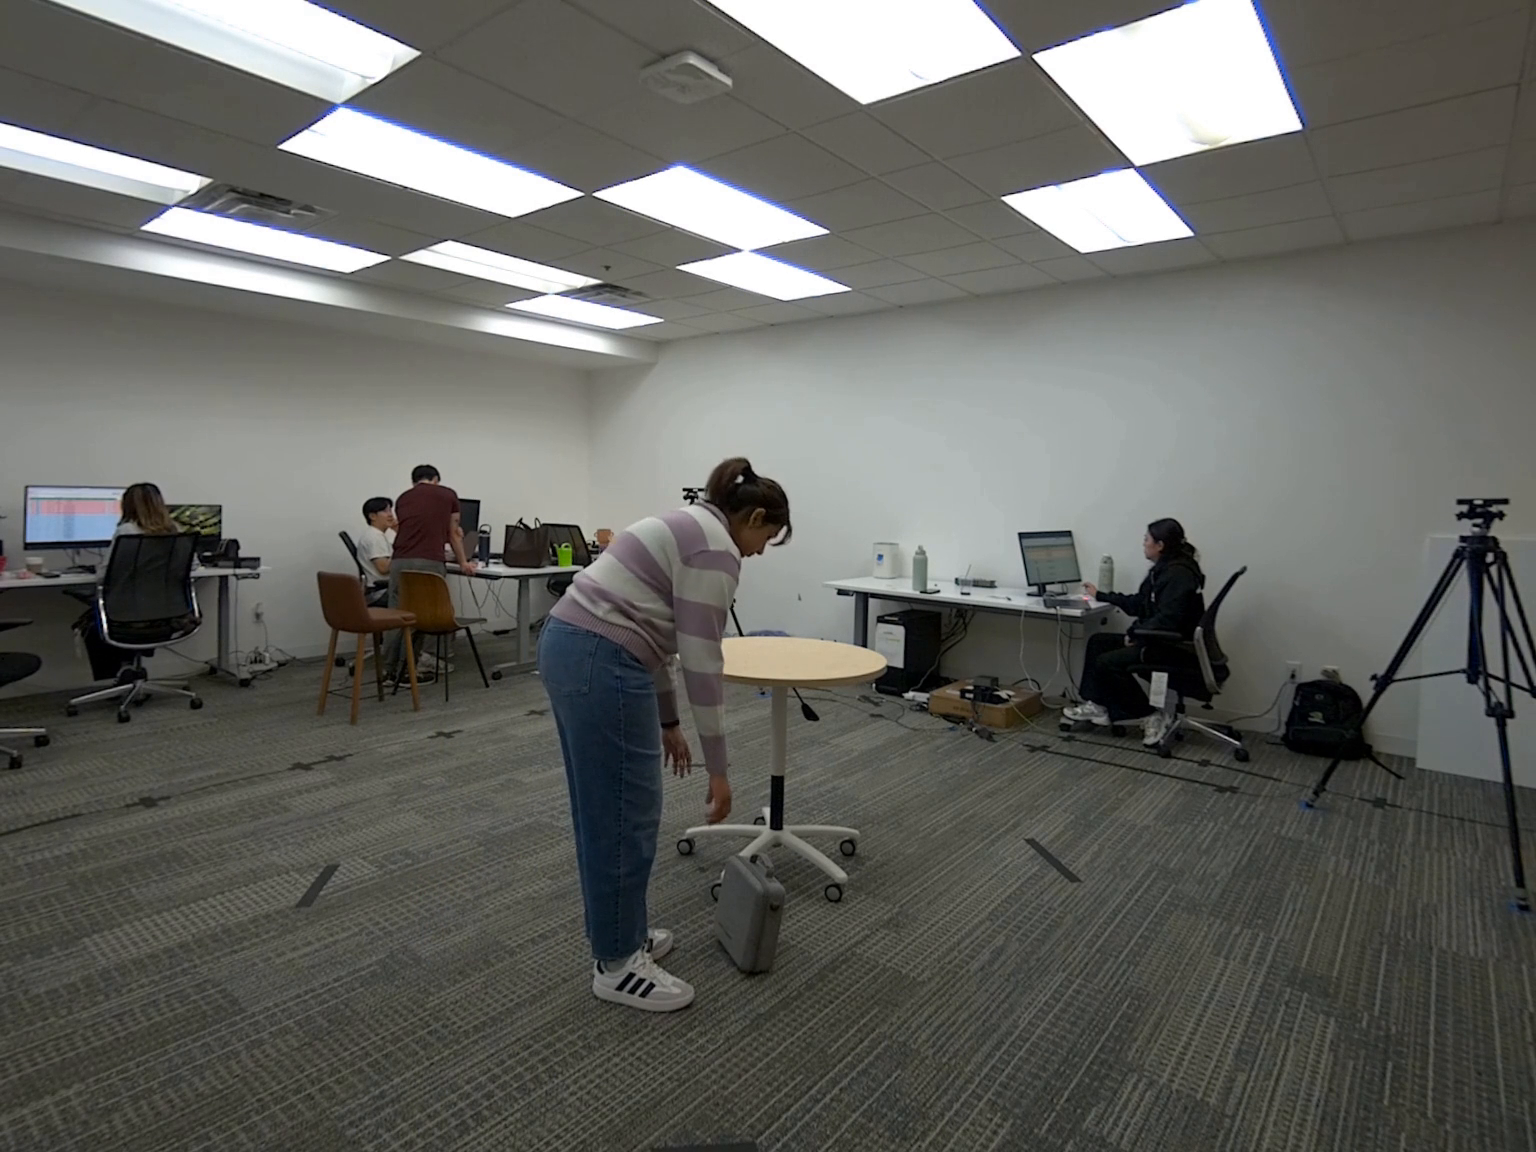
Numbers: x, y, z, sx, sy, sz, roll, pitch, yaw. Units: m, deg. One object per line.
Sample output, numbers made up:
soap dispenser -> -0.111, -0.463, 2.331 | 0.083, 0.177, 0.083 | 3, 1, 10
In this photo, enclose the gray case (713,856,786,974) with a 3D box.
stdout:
gray case -> -0.069, 0.991, 2.541 | 0.102, 0.261, 0.263 | 8, 0, -22
